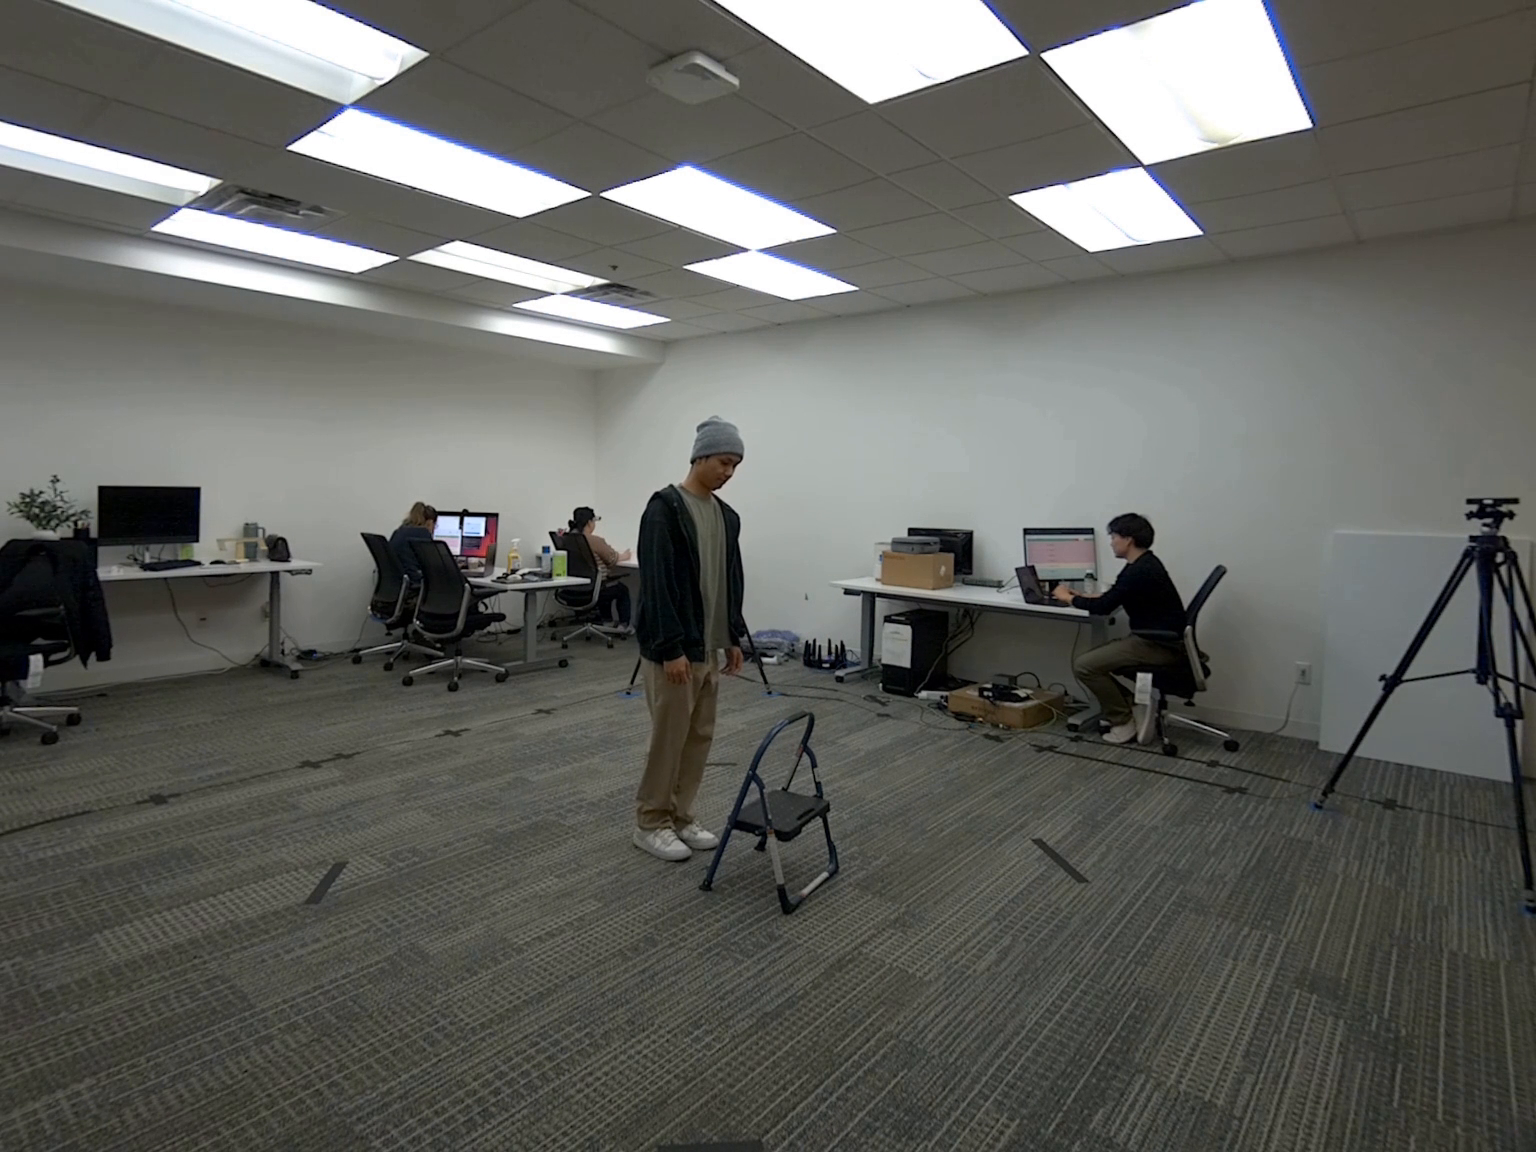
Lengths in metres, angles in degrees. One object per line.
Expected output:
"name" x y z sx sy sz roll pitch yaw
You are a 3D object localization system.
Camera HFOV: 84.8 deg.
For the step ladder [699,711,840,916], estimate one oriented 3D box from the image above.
"step ladder" 0.016 0.776 3.018 0.359 0.604 0.420 3 4 29
